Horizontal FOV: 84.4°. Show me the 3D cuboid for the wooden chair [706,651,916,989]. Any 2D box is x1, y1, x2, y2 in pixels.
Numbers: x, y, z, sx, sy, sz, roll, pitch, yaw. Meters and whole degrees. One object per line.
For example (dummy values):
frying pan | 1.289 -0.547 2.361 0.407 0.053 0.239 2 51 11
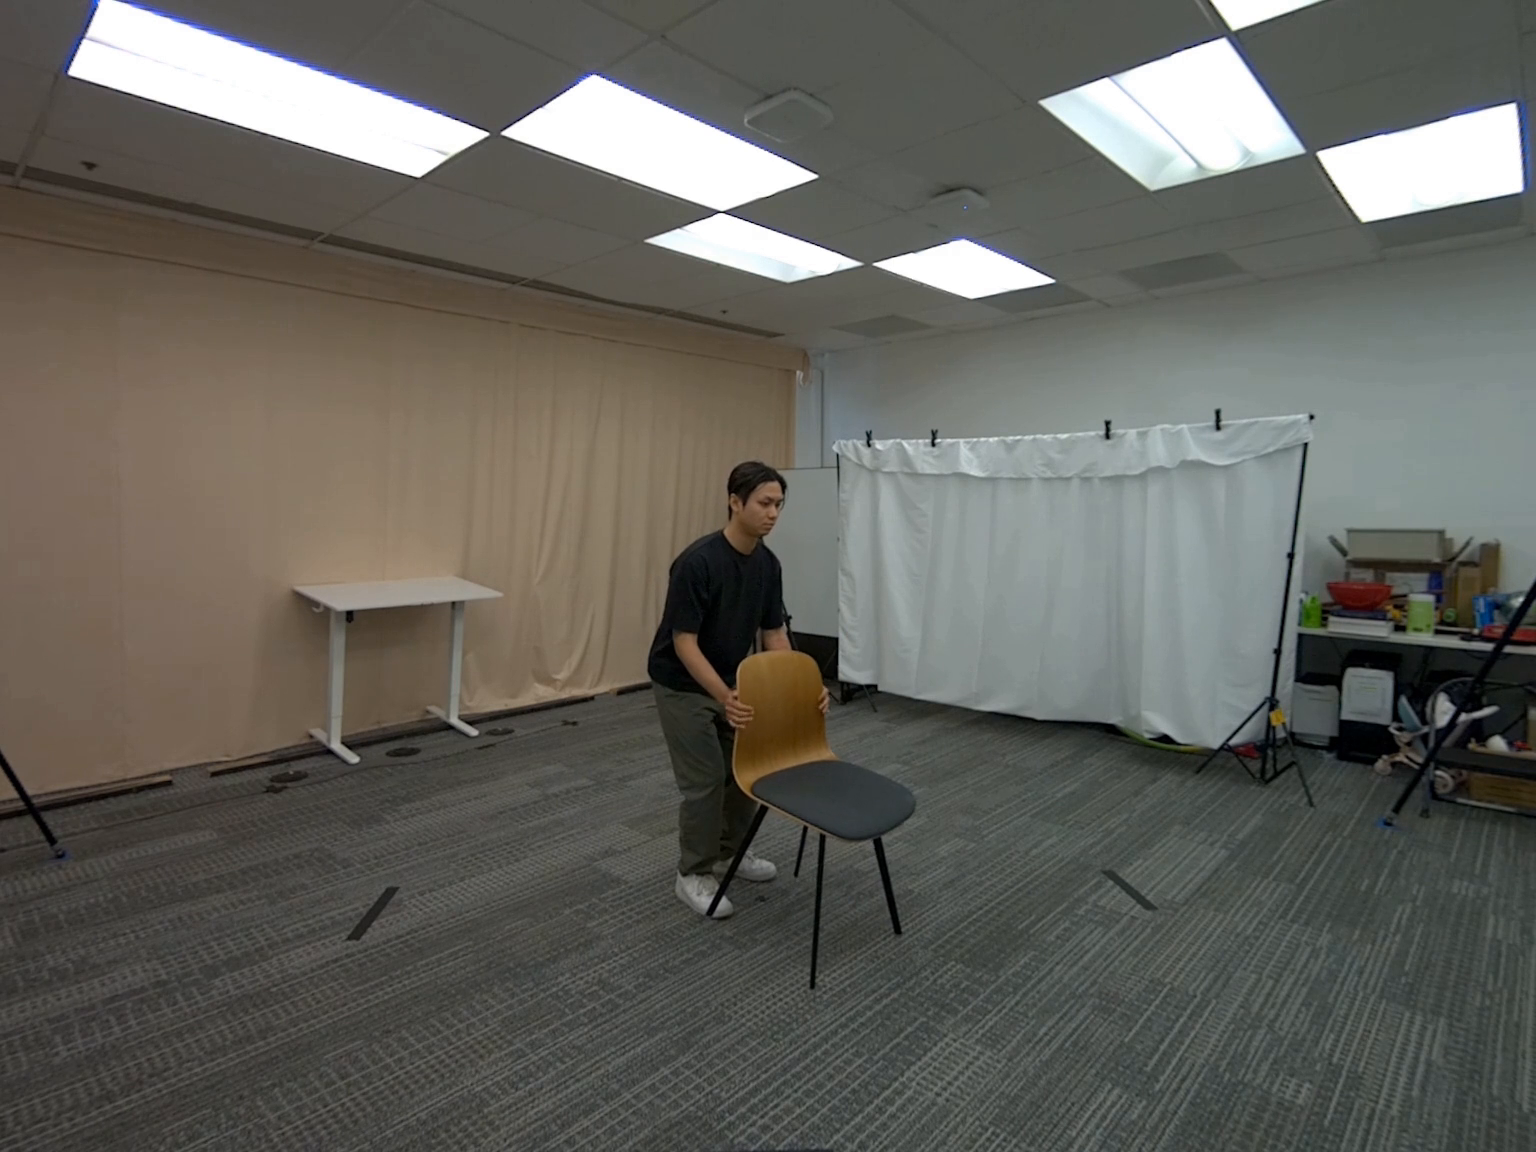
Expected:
wooden chair | 0.170 0.718 2.663 0.541 0.875 0.463 7 7 44
